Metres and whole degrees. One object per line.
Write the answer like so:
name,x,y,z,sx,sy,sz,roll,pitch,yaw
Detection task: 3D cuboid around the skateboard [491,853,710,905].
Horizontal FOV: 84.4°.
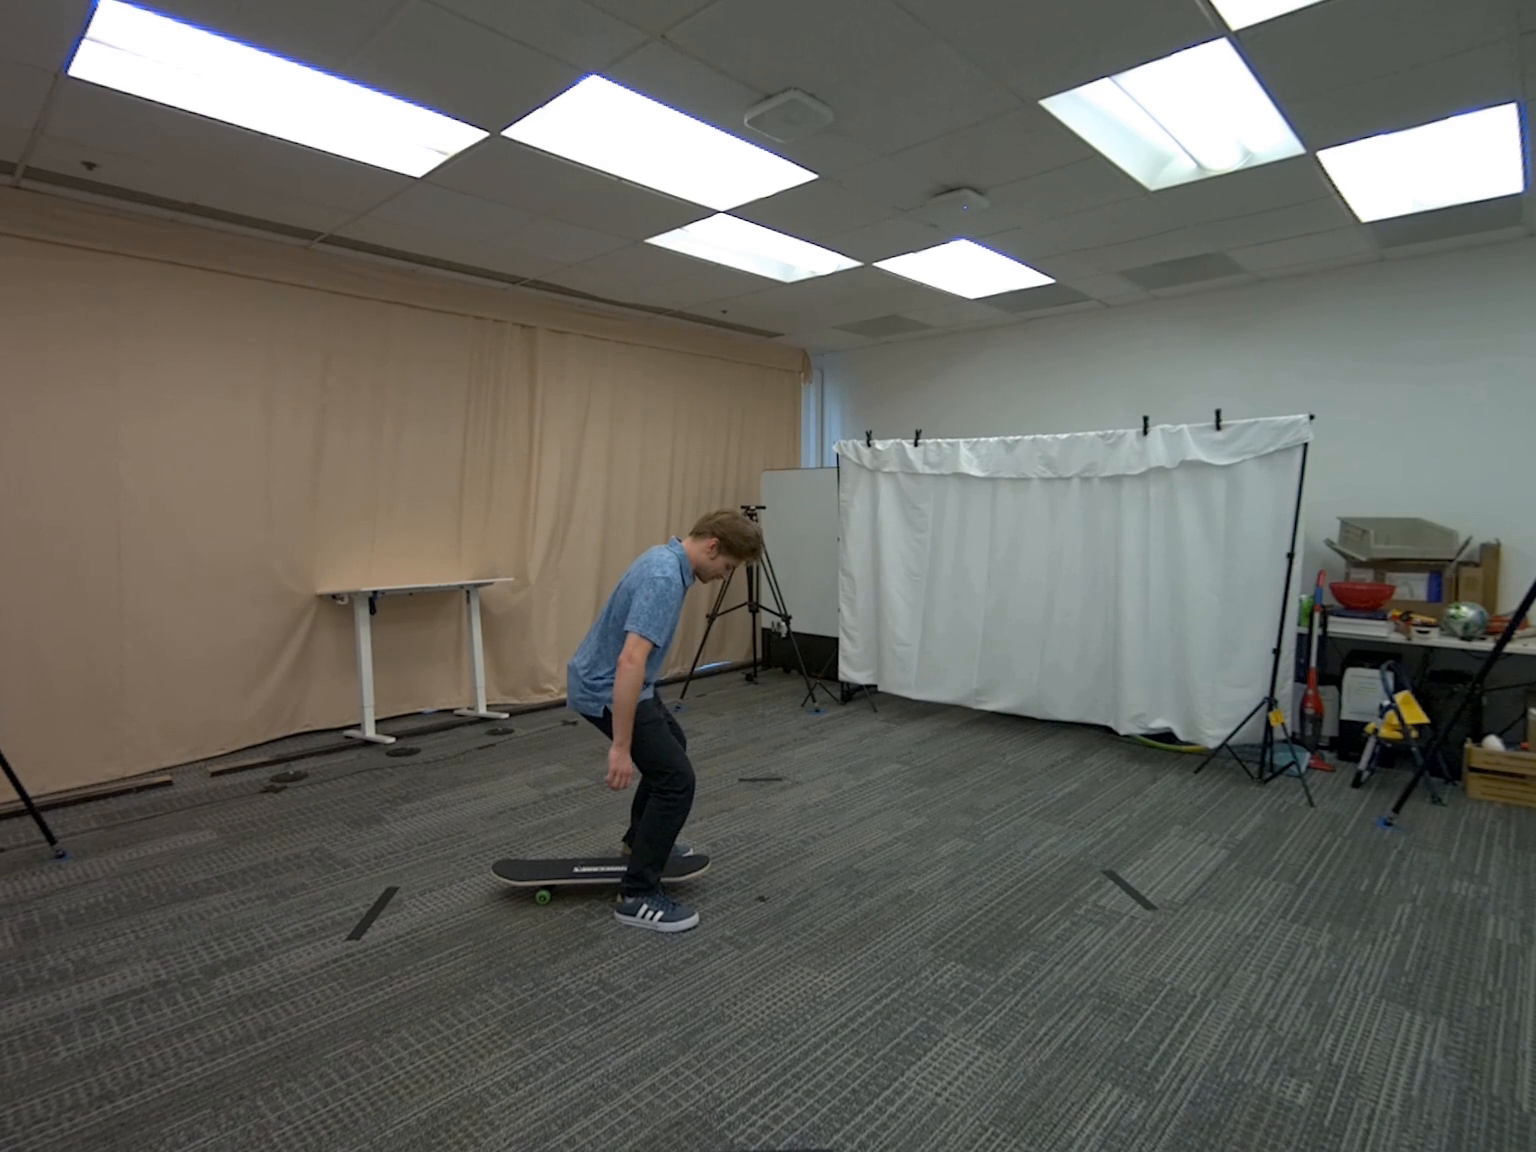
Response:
skateboard,-0.602,1.087,3.038,0.784,0.110,0.194,-1,4,-2
